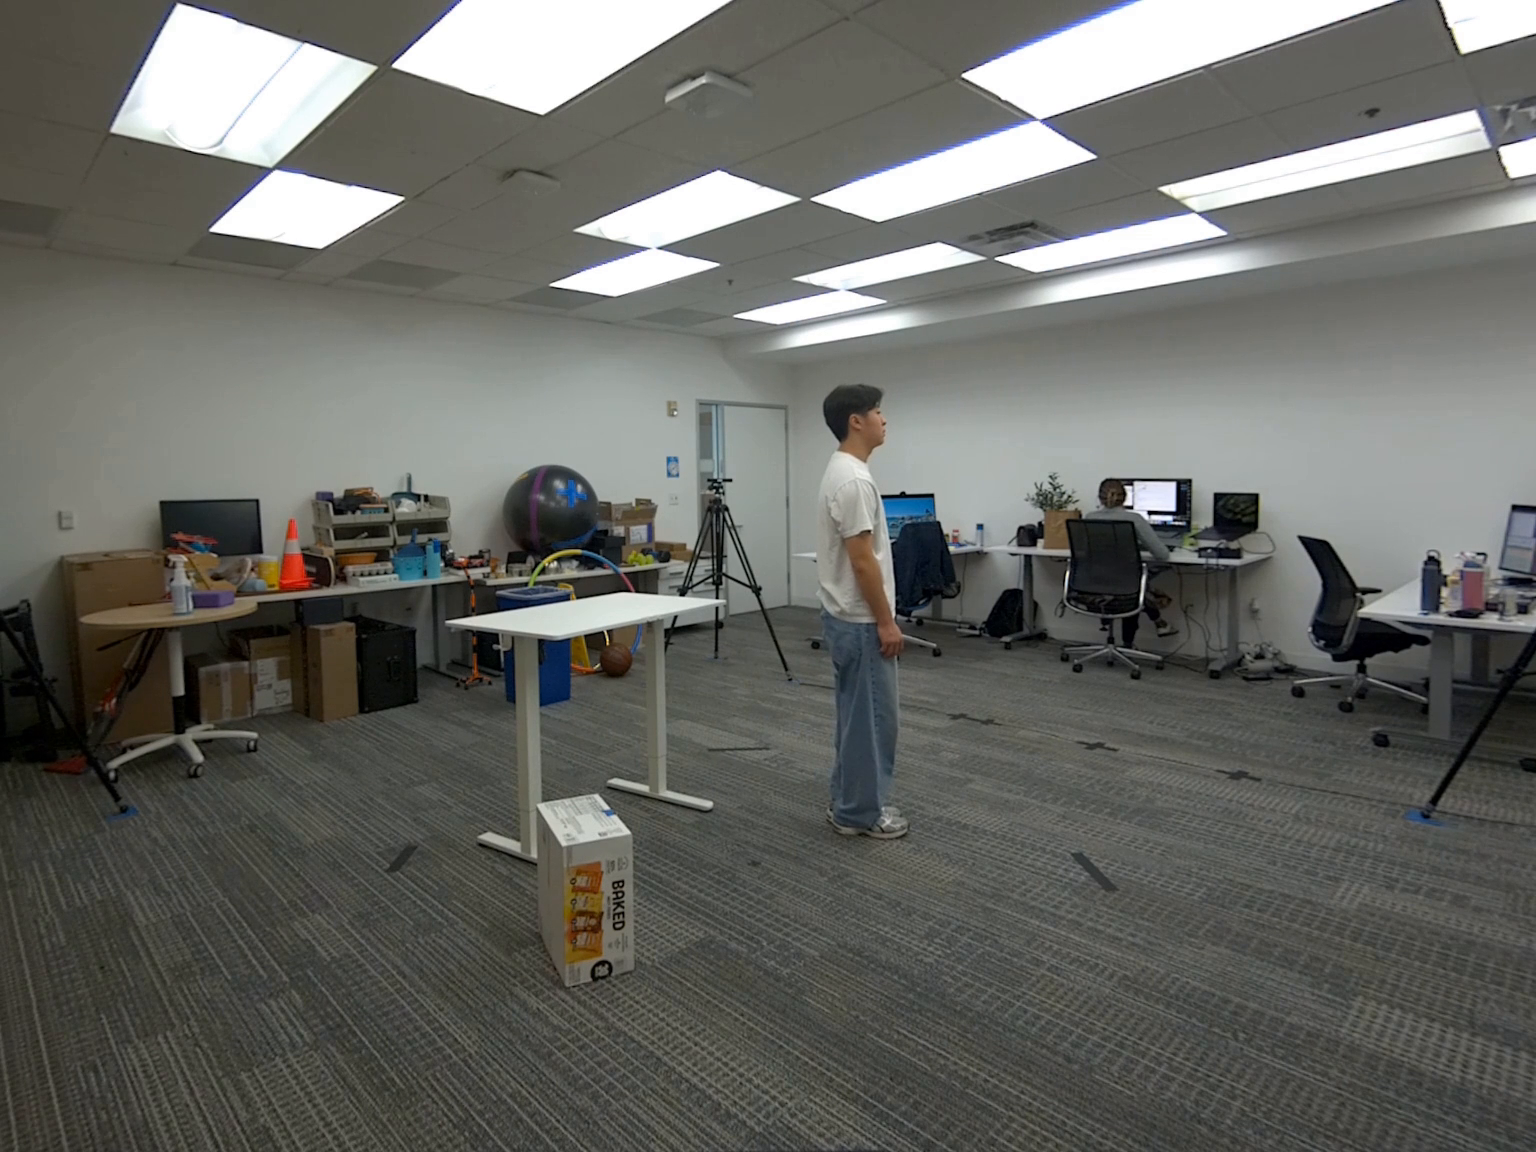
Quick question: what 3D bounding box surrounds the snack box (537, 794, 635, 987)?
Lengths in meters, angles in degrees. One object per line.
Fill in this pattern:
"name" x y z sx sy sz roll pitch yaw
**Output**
"snack box" -0.547 0.918 2.541 0.201 0.403 0.349 -3 6 -27
